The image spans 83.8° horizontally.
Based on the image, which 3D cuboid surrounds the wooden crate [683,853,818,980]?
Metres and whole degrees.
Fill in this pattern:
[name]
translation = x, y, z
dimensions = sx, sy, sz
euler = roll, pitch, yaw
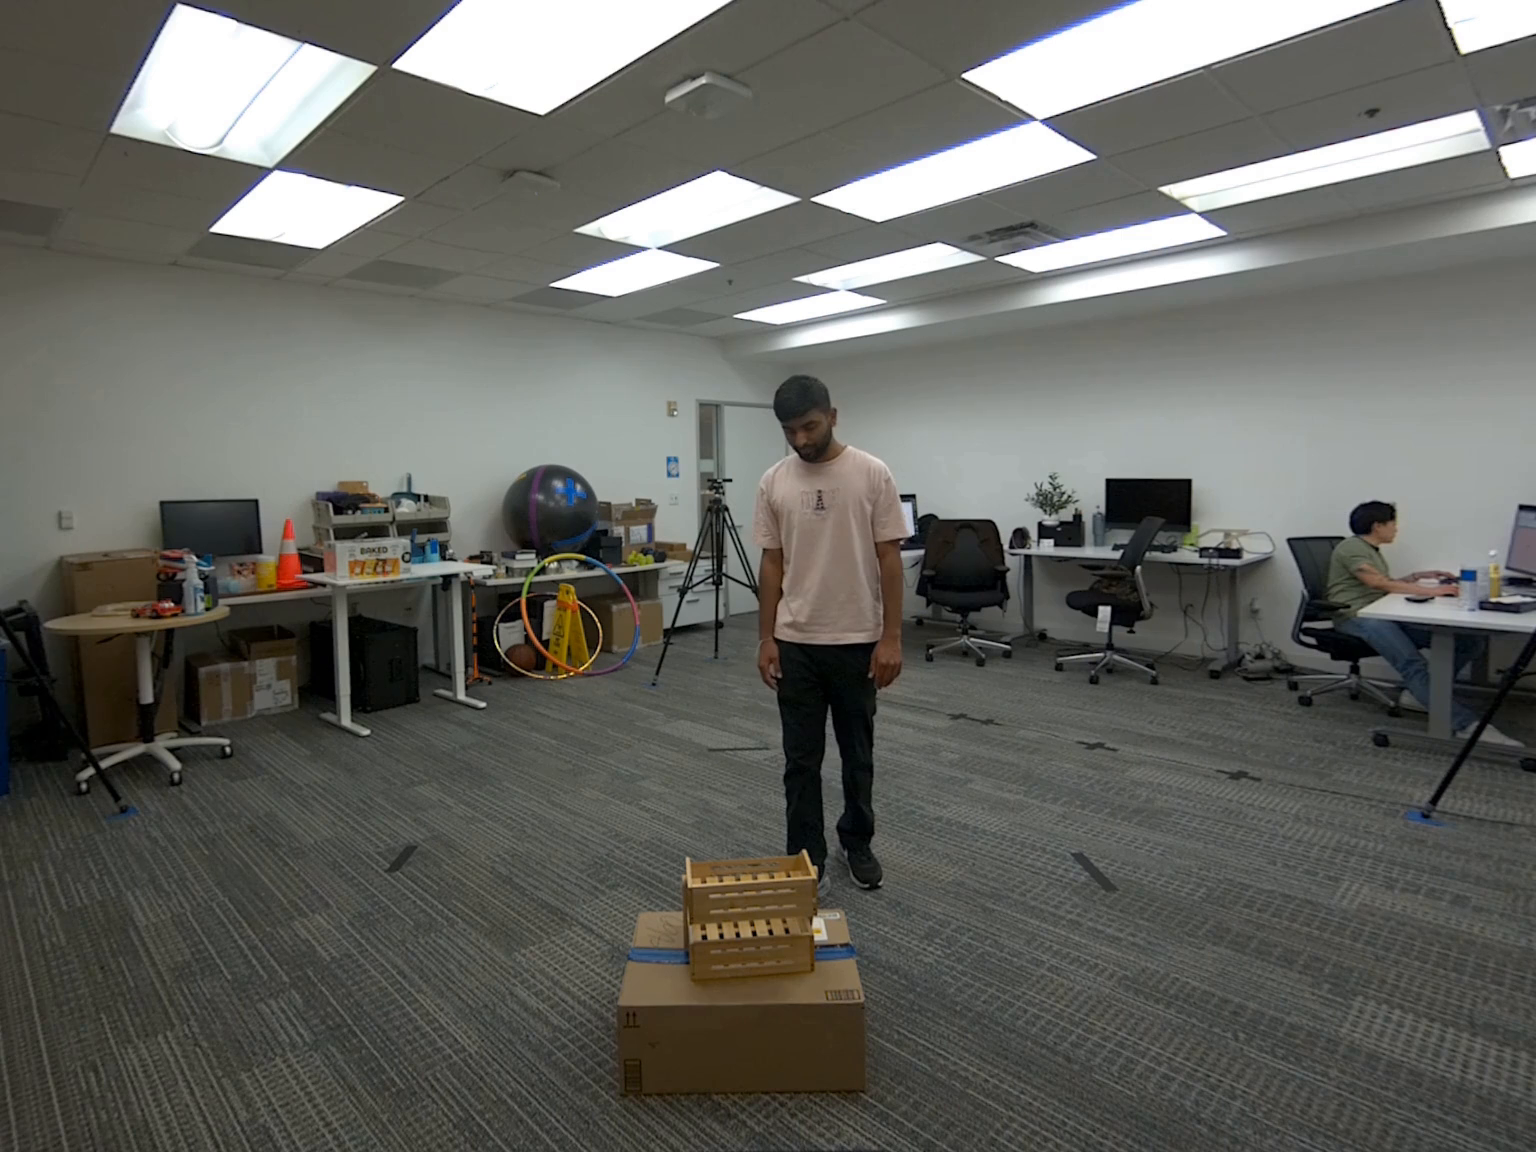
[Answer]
[wooden crate]
translation = -0.047, 0.814, 2.142
dimensions = 0.323, 0.272, 0.306
euler = -3, 7, -7
